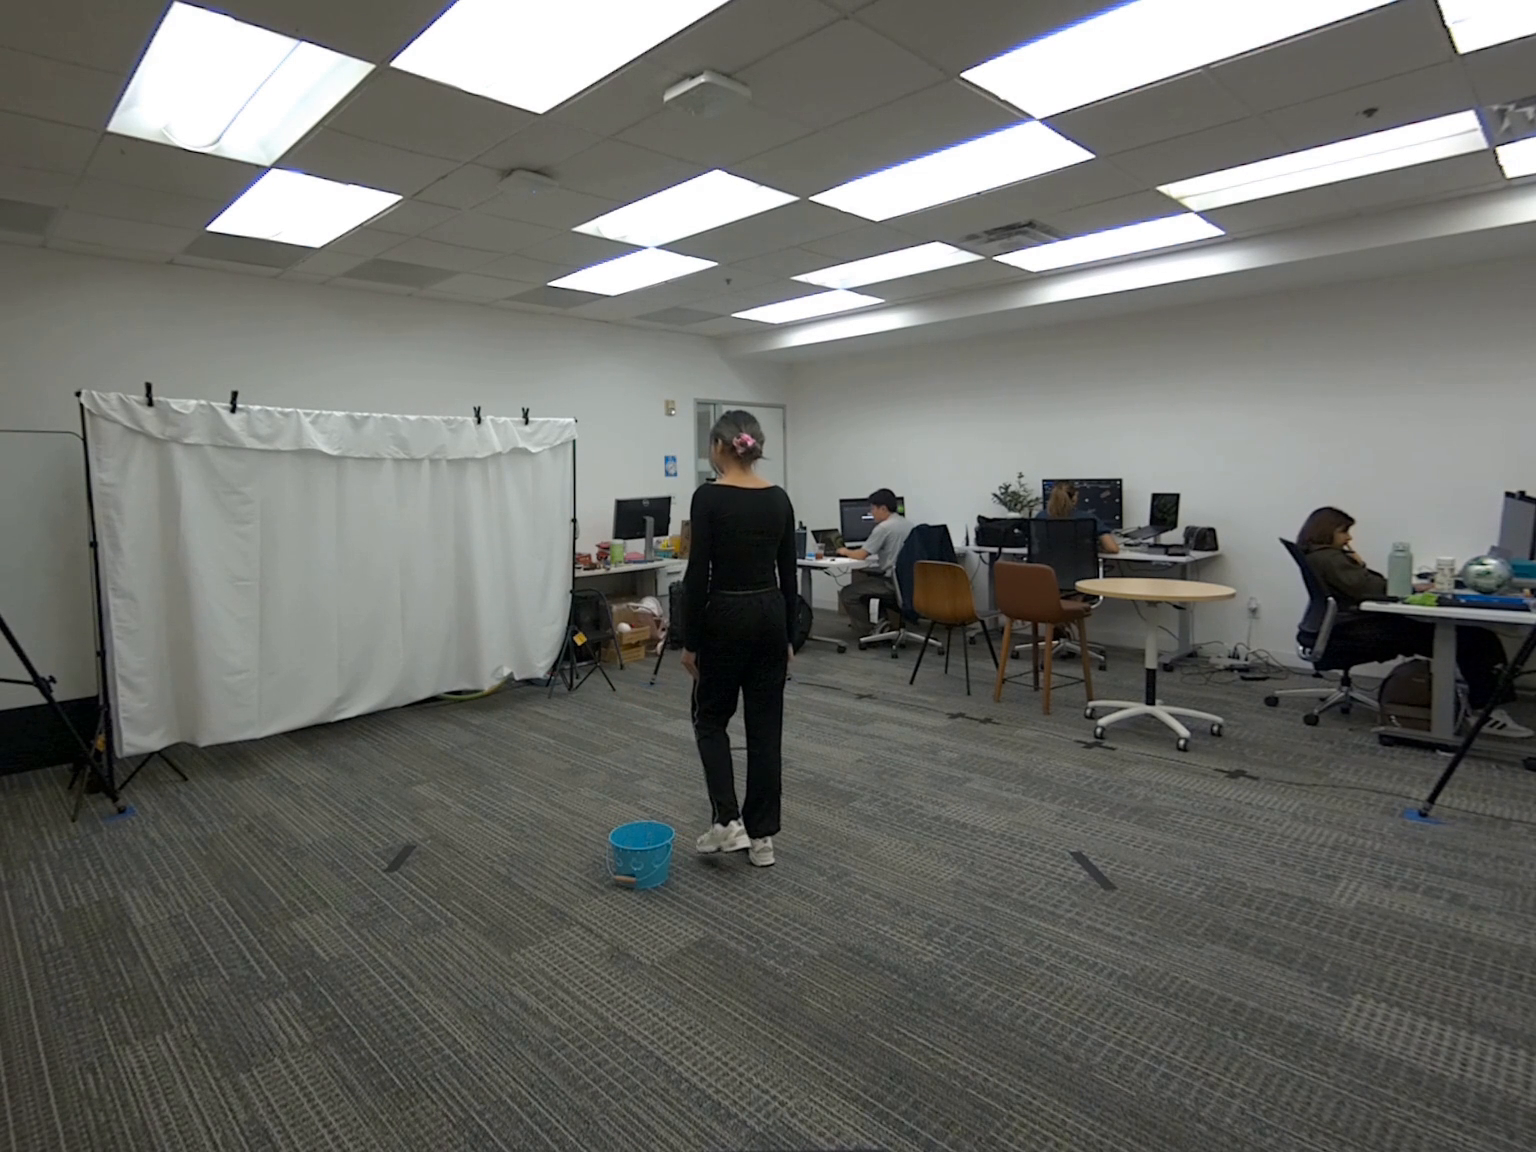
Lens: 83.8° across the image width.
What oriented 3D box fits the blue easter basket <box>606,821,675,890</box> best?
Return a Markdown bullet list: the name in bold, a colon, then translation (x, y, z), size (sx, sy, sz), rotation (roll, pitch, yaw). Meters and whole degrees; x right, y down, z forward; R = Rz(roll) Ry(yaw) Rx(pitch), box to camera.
- **blue easter basket**: translation (-0.433, 0.981, 3.004), size (0.243, 0.155, 0.245), rotation (-1, 7, -2)
